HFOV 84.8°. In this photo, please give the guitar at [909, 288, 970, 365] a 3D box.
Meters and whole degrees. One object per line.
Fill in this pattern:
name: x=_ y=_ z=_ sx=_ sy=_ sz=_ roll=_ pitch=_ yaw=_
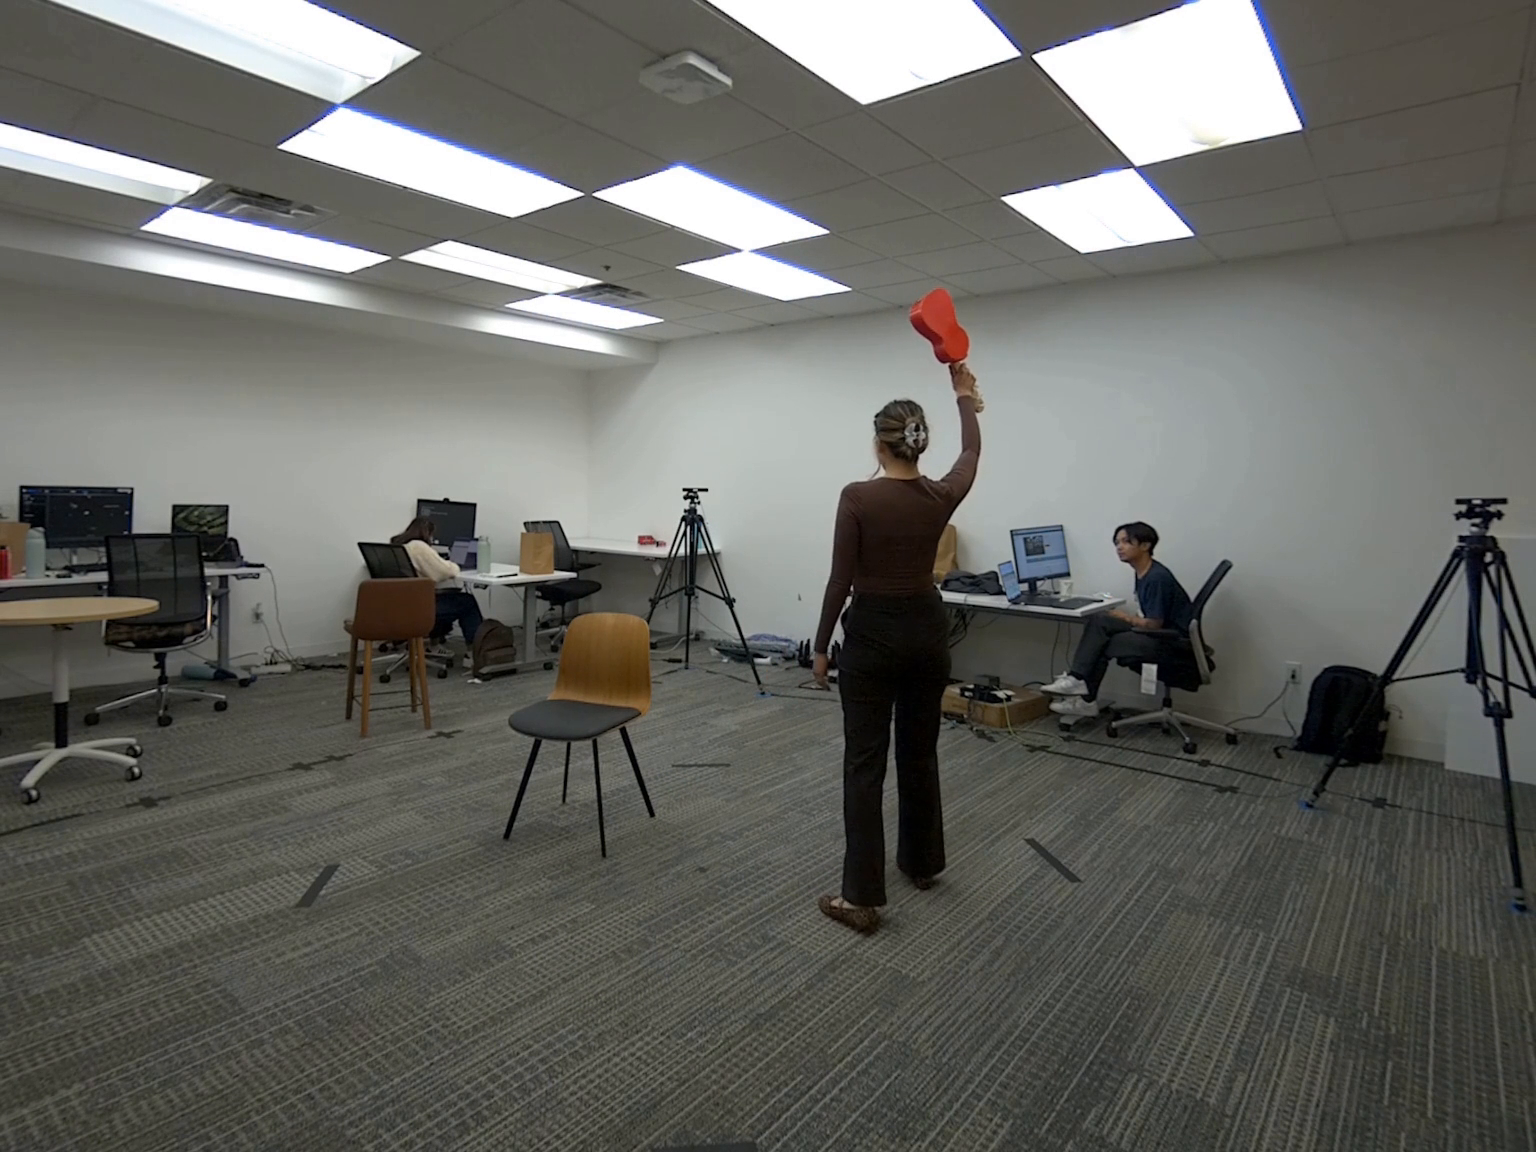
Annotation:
guitar: x=0.697 y=-0.851 z=3.196 sx=0.072 sy=0.484 sz=0.194 roll=-12 pitch=36 yaw=54
